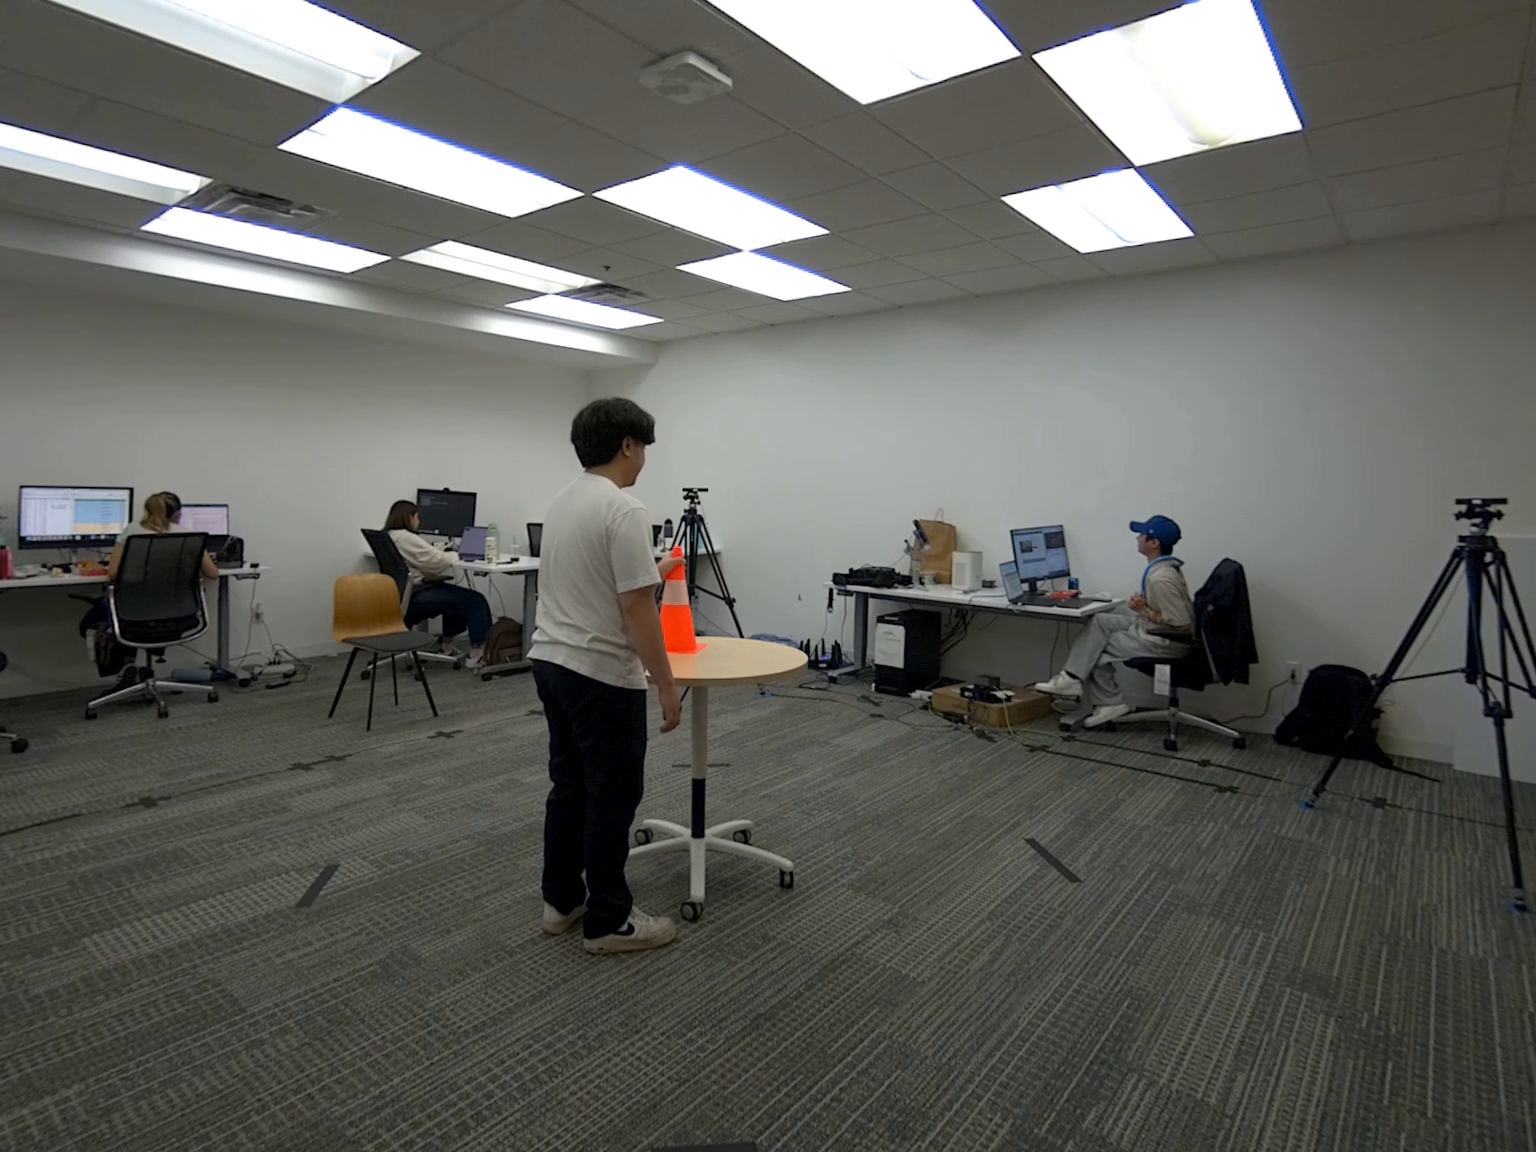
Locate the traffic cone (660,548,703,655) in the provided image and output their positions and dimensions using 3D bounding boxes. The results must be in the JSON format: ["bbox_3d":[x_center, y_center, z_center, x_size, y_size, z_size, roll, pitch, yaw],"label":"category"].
[{"bbox_3d":[-0.352,0.080,3.154,0.208,0.382,0.201,2,4,12],"label":"traffic cone"}]
